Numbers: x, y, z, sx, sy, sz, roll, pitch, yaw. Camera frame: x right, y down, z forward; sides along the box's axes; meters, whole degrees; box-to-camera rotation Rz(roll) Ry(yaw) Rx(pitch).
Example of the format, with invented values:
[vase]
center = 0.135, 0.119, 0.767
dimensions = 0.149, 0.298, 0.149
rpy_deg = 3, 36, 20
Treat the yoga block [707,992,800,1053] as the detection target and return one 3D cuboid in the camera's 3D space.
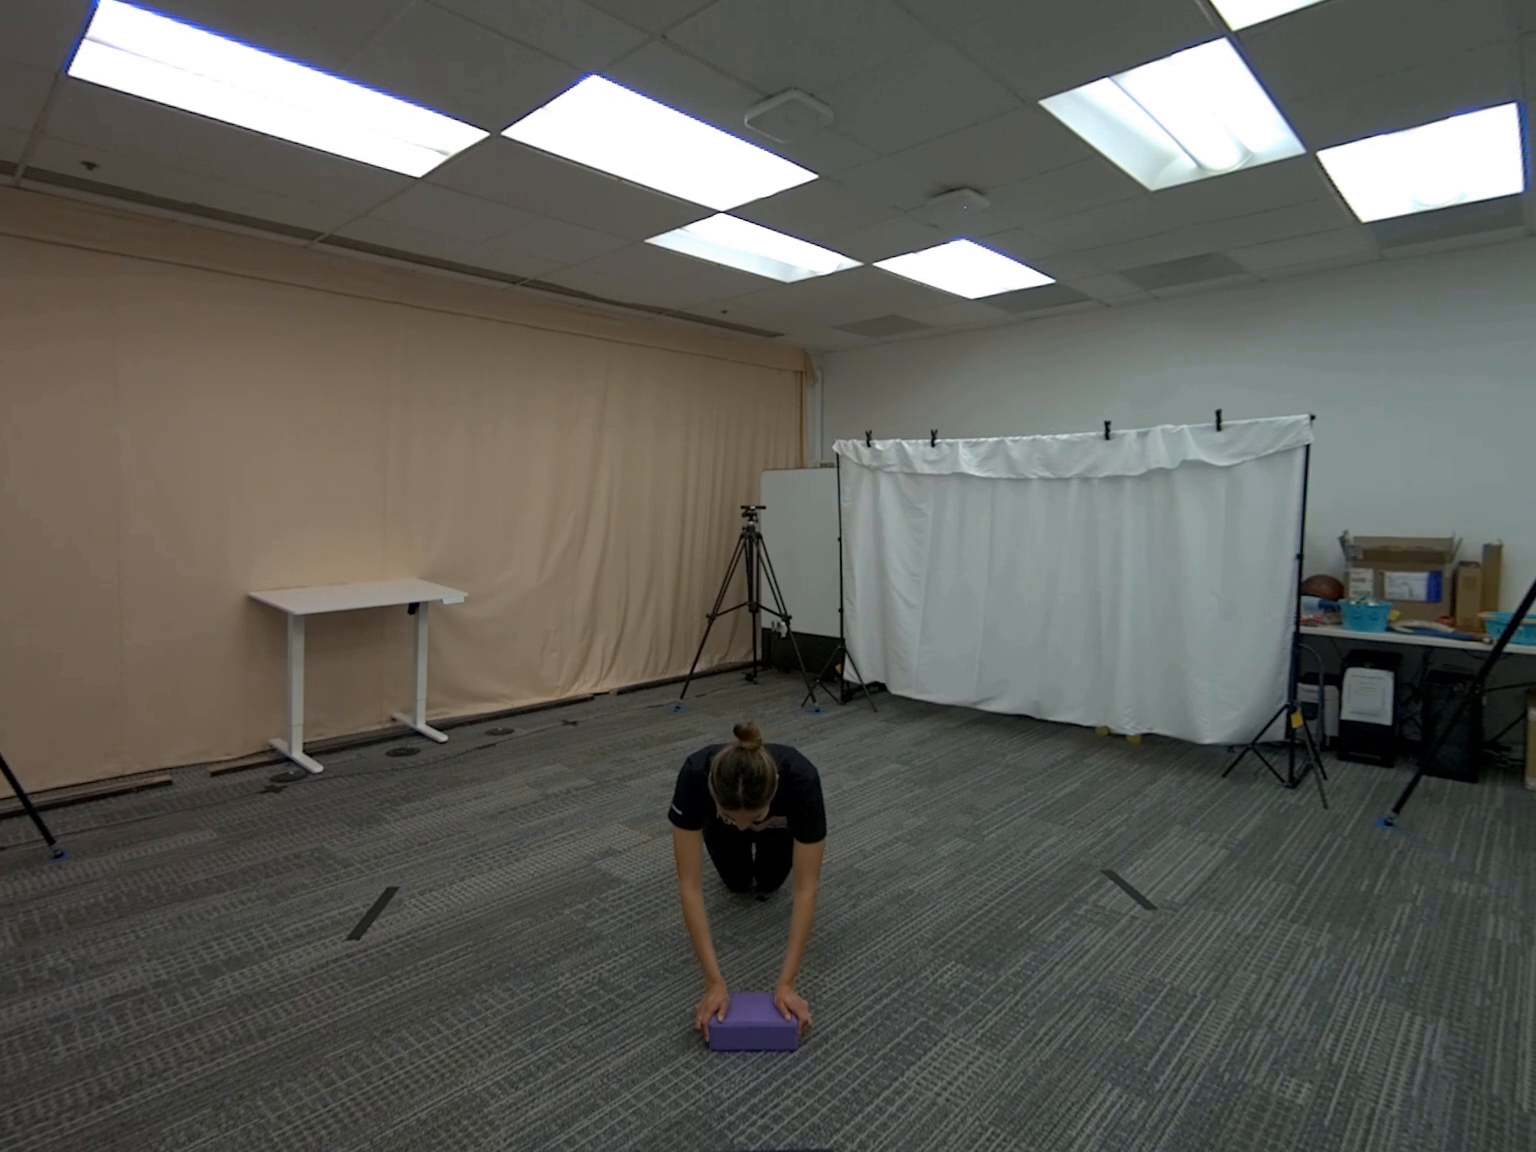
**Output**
[yoga block]
center = -0.047, 1.165, 2.219
dimensions = 0.229, 0.076, 0.149
rpy_deg = -2, 5, -1
